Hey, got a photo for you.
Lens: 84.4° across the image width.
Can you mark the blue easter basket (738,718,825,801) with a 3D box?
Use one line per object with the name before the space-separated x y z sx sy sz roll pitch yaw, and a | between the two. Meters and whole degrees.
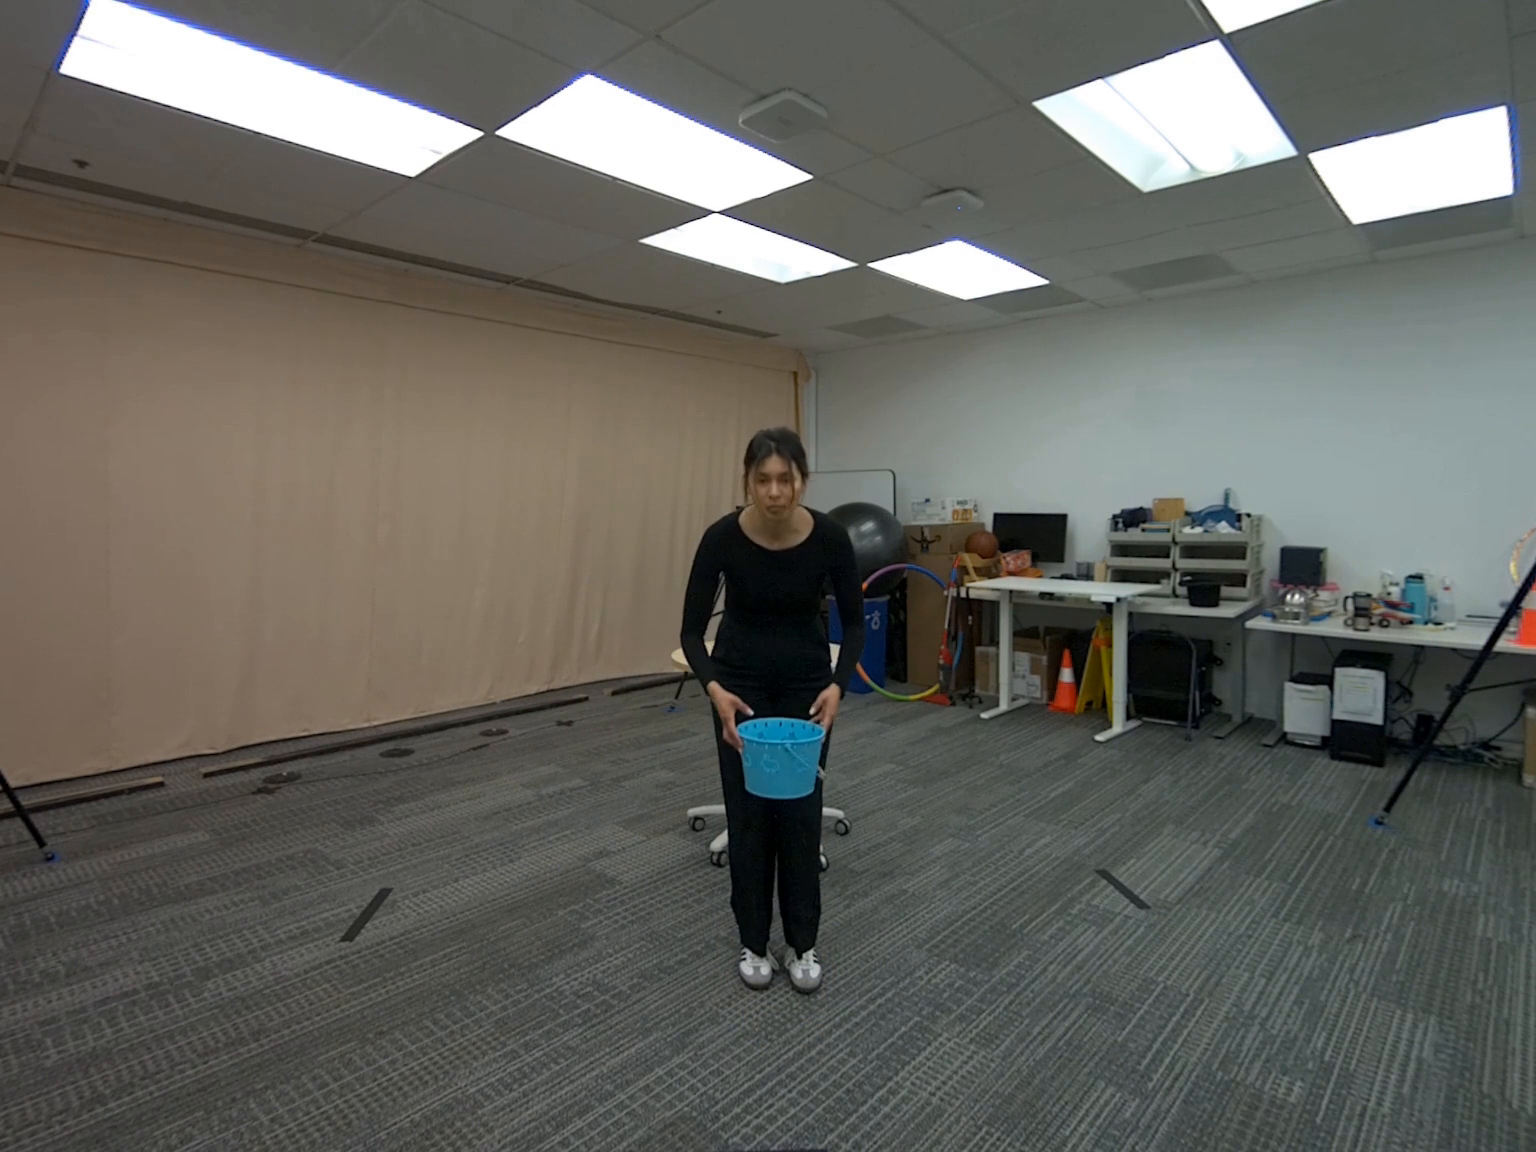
blue easter basket | 0.040 0.482 2.202 0.243 0.155 0.244 -1 4 -2
